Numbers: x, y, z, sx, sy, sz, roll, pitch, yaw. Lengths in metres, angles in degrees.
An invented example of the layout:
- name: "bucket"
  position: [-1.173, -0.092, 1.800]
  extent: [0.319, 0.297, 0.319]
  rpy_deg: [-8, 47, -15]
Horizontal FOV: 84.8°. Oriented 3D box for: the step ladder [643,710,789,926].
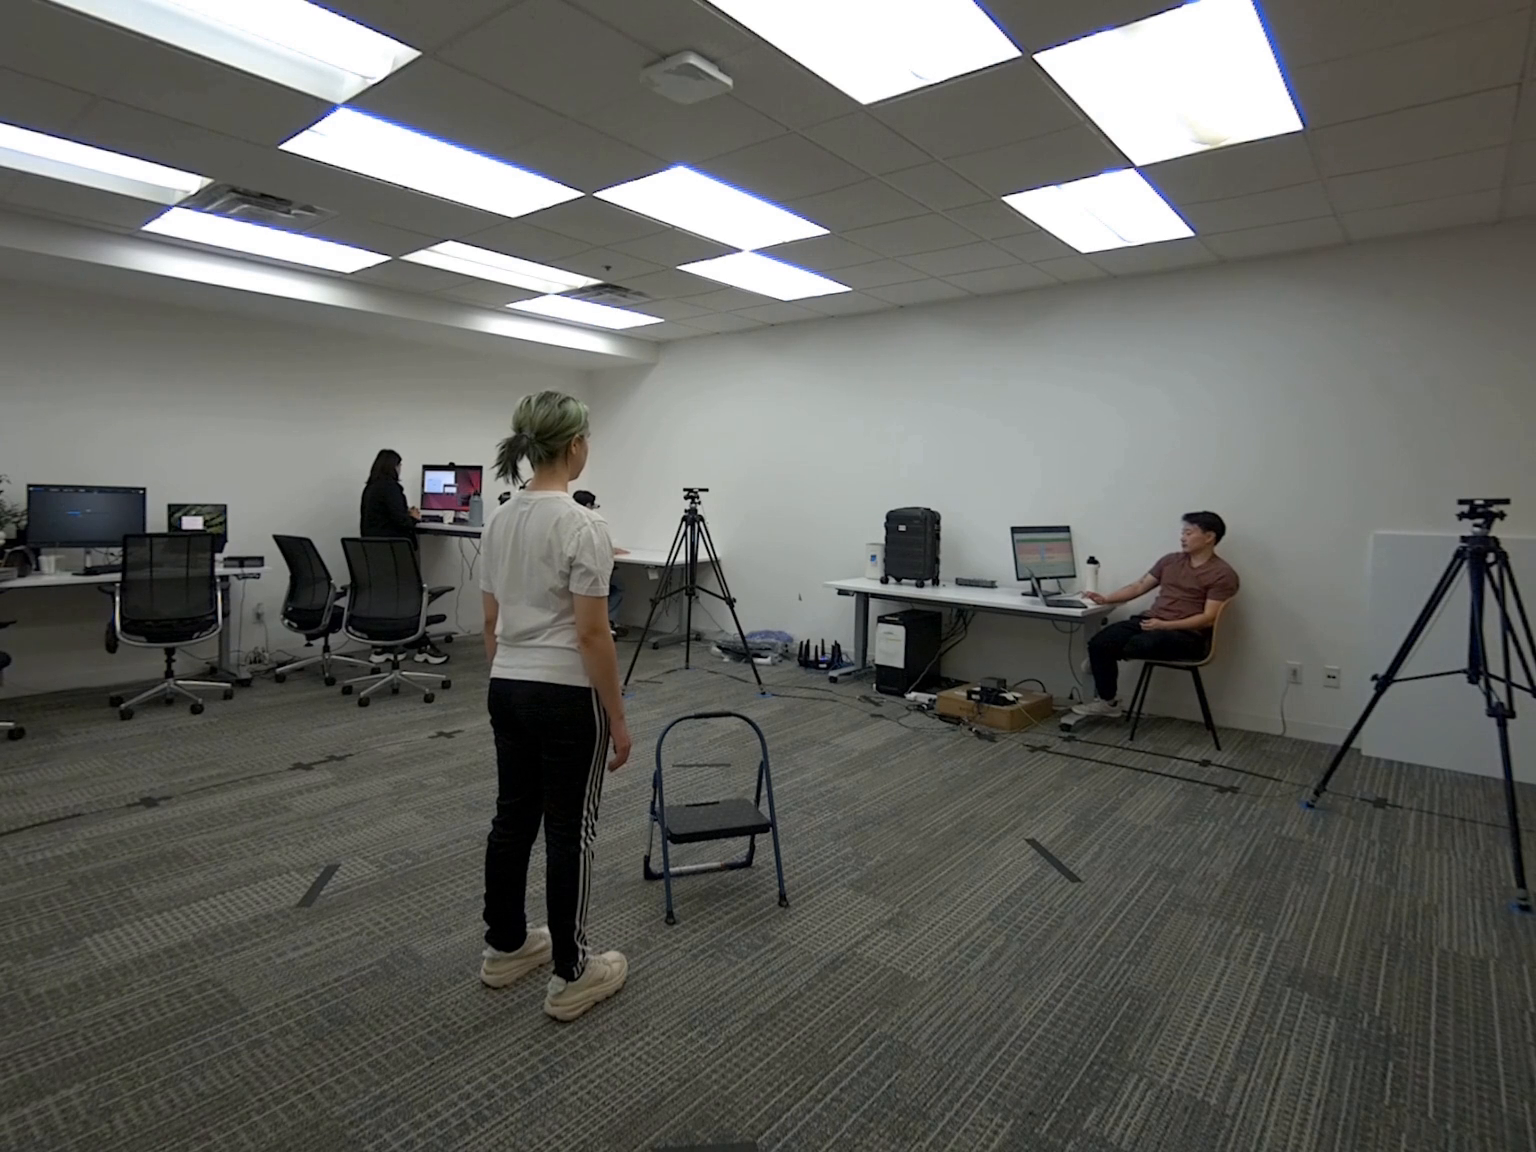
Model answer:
- name: "step ladder"
  position: [-0.192, 0.787, 2.922]
  extent: [0.421, 0.604, 0.358]
  rpy_deg: [0, 3, -21]
